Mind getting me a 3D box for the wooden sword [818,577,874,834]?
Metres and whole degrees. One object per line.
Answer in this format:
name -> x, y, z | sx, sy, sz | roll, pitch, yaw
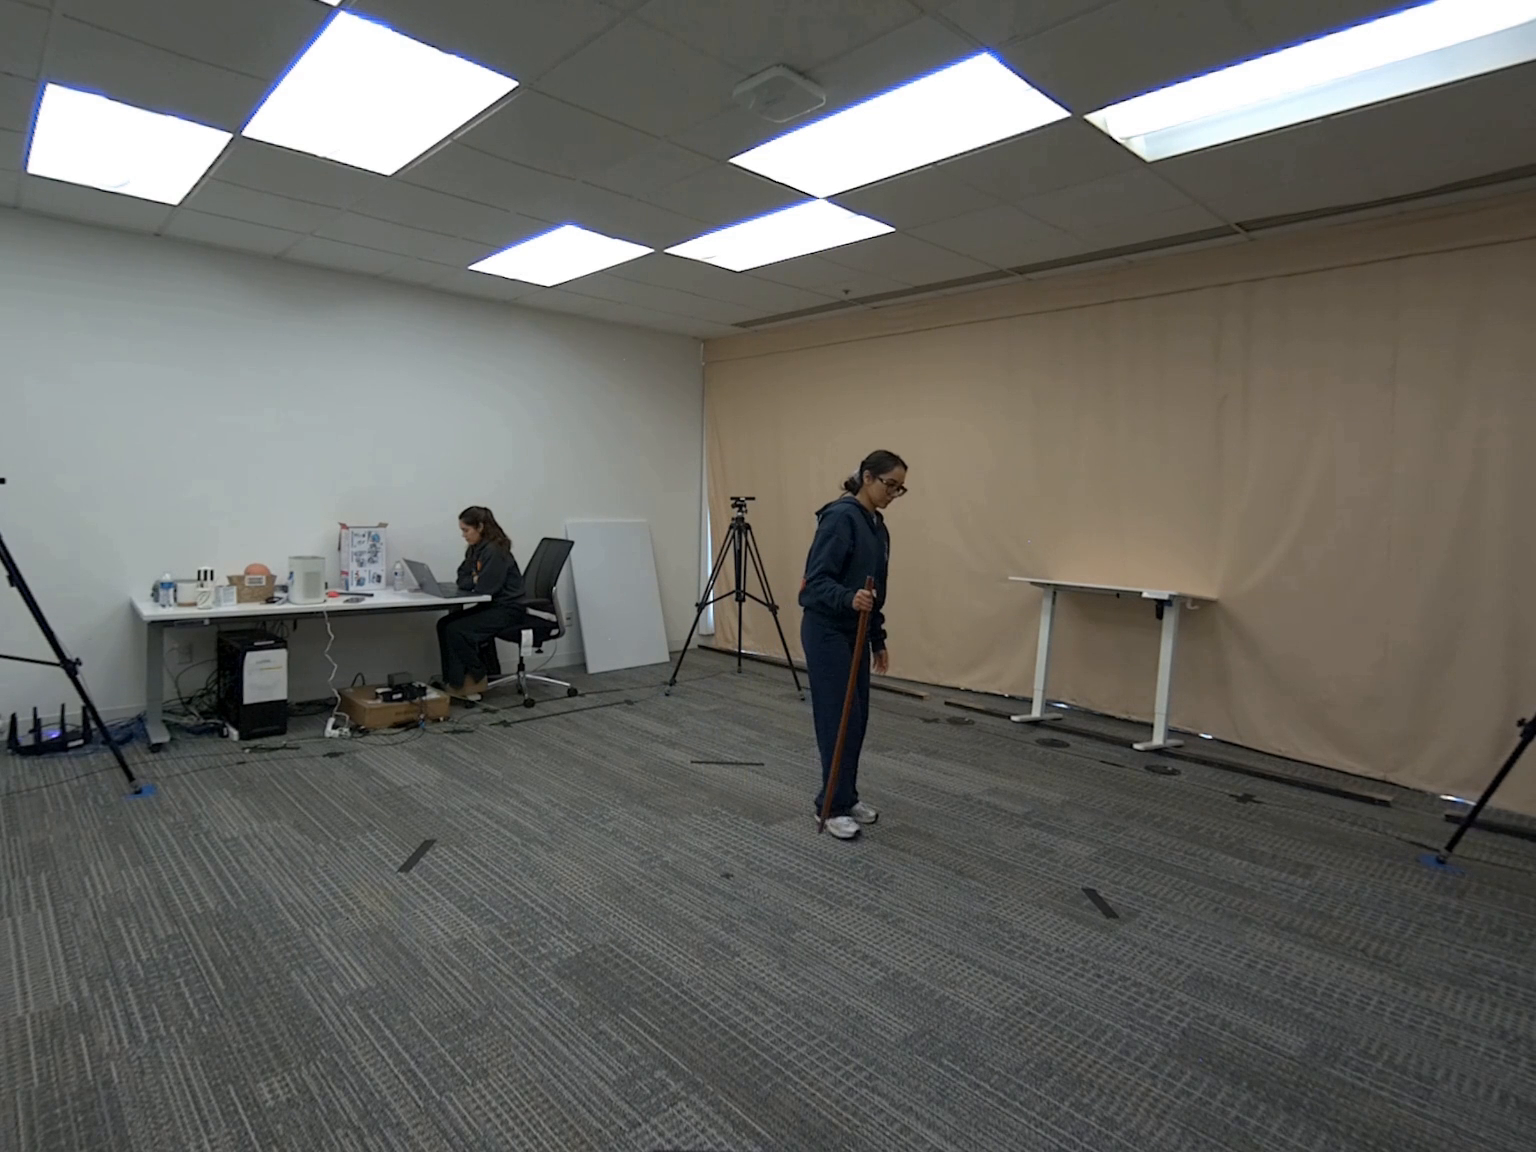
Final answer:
wooden sword -> 0.289, 0.527, 3.292 | 0.024, 1.021, 0.052 | 8, 5, -11
